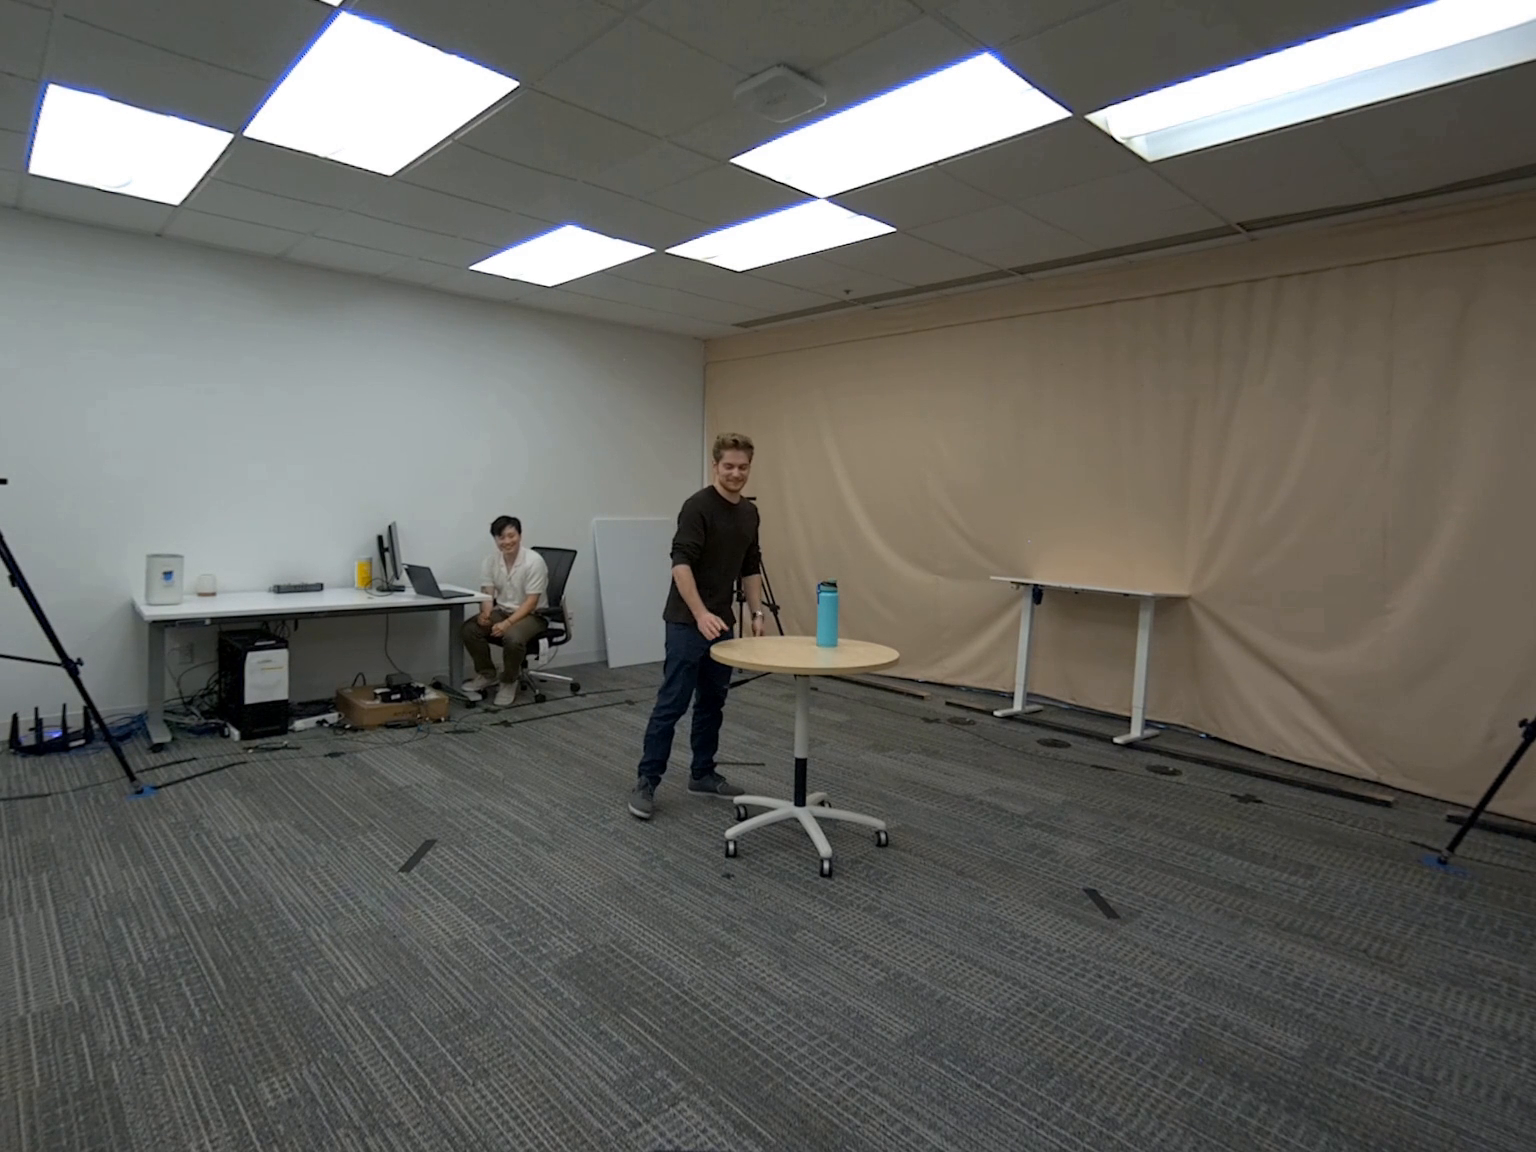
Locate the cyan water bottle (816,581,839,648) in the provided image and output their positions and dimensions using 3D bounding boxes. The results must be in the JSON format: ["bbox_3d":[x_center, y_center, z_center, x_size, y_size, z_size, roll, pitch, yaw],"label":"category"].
[{"bbox_3d":[0.249,0.153,3.556,0.092,0.283,0.092,-2,3,-1],"label":"cyan water bottle"}]
